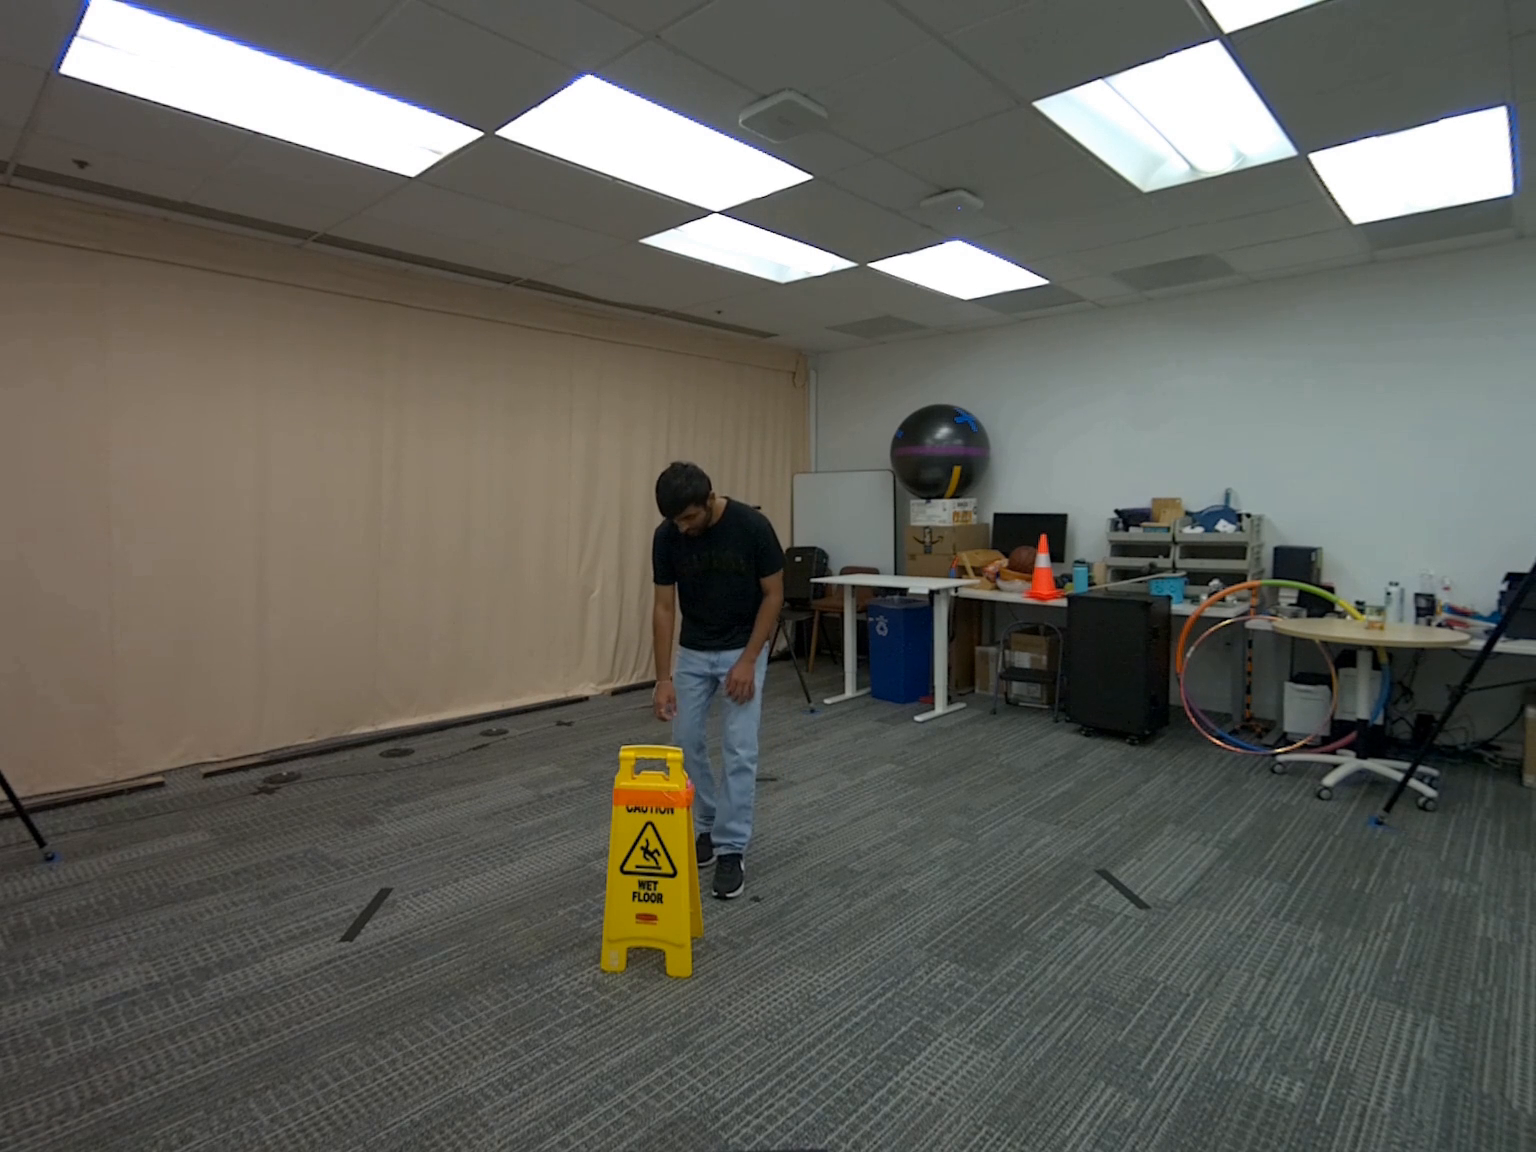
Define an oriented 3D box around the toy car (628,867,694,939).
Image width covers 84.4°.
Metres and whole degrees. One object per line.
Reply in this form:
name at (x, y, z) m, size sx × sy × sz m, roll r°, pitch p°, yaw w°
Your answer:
toy car at (-0.368, 1.122, 2.927) m, size 0.133 × 0.082 × 0.252 m, roll -2°, pitch 15°, yaw 16°
